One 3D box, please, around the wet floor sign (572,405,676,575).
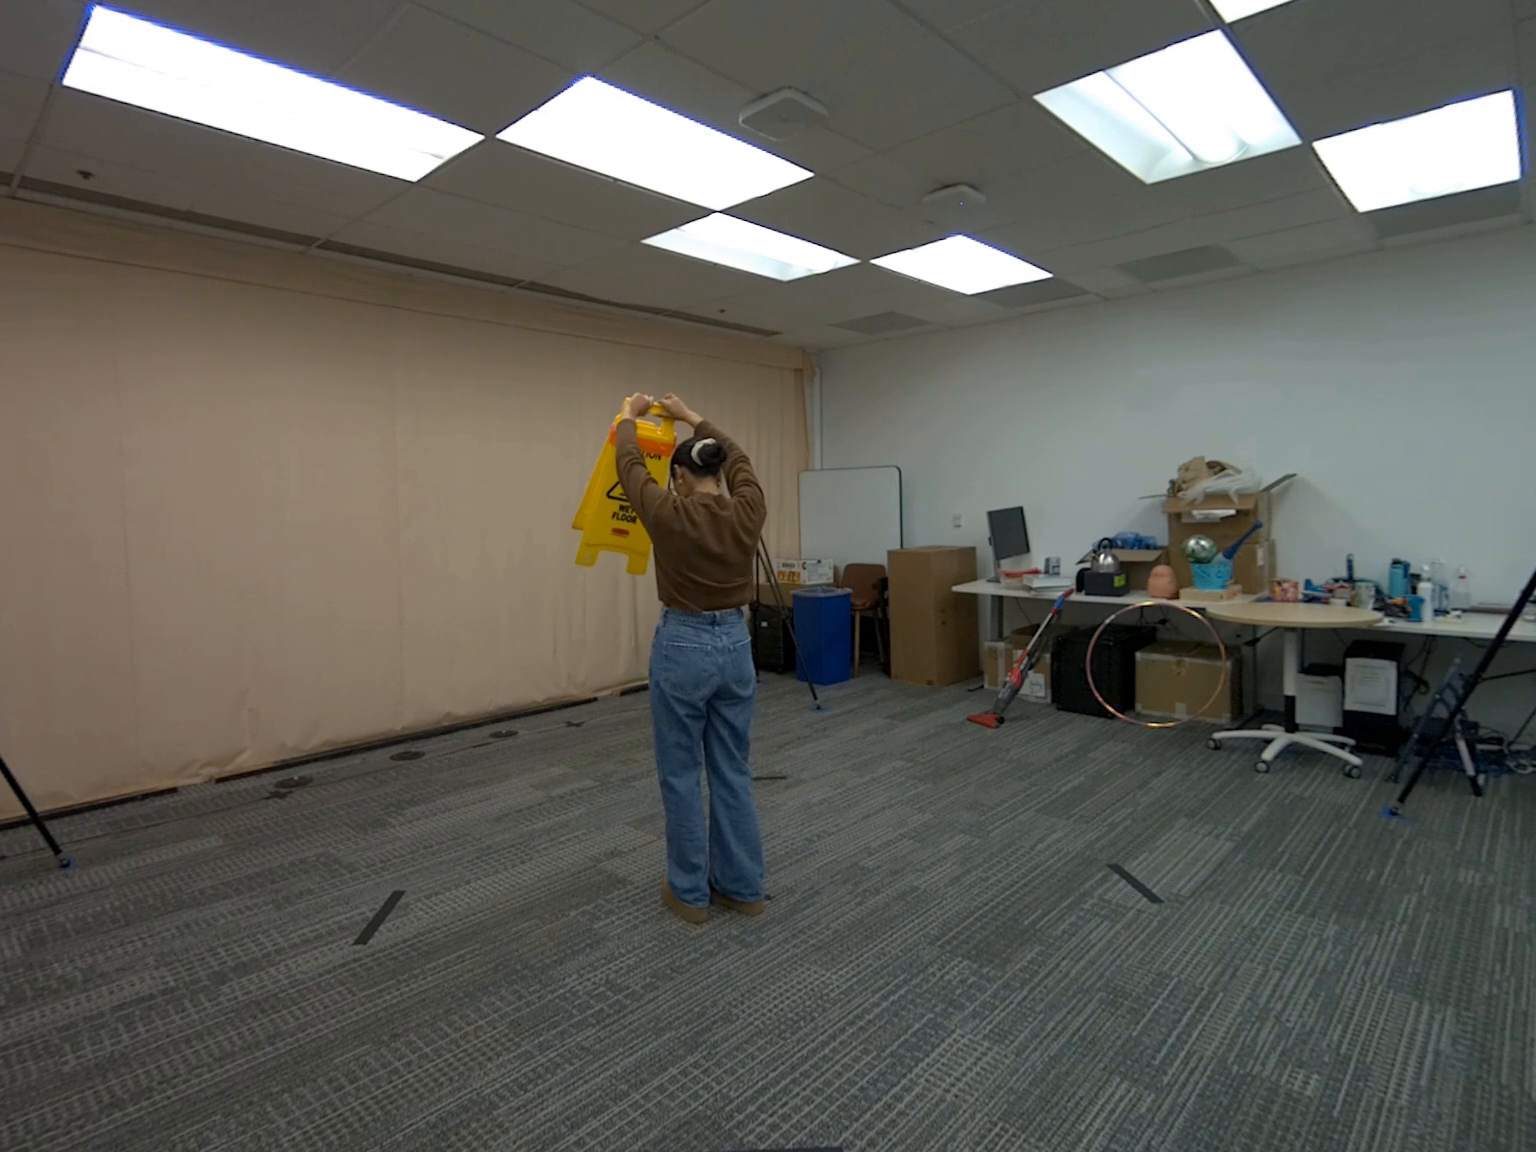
[{"bbox_3d":[-0.519,-0.359,3.189,0.276,0.642,0.297,10,31,-19],"label":"wet floor sign"}]
